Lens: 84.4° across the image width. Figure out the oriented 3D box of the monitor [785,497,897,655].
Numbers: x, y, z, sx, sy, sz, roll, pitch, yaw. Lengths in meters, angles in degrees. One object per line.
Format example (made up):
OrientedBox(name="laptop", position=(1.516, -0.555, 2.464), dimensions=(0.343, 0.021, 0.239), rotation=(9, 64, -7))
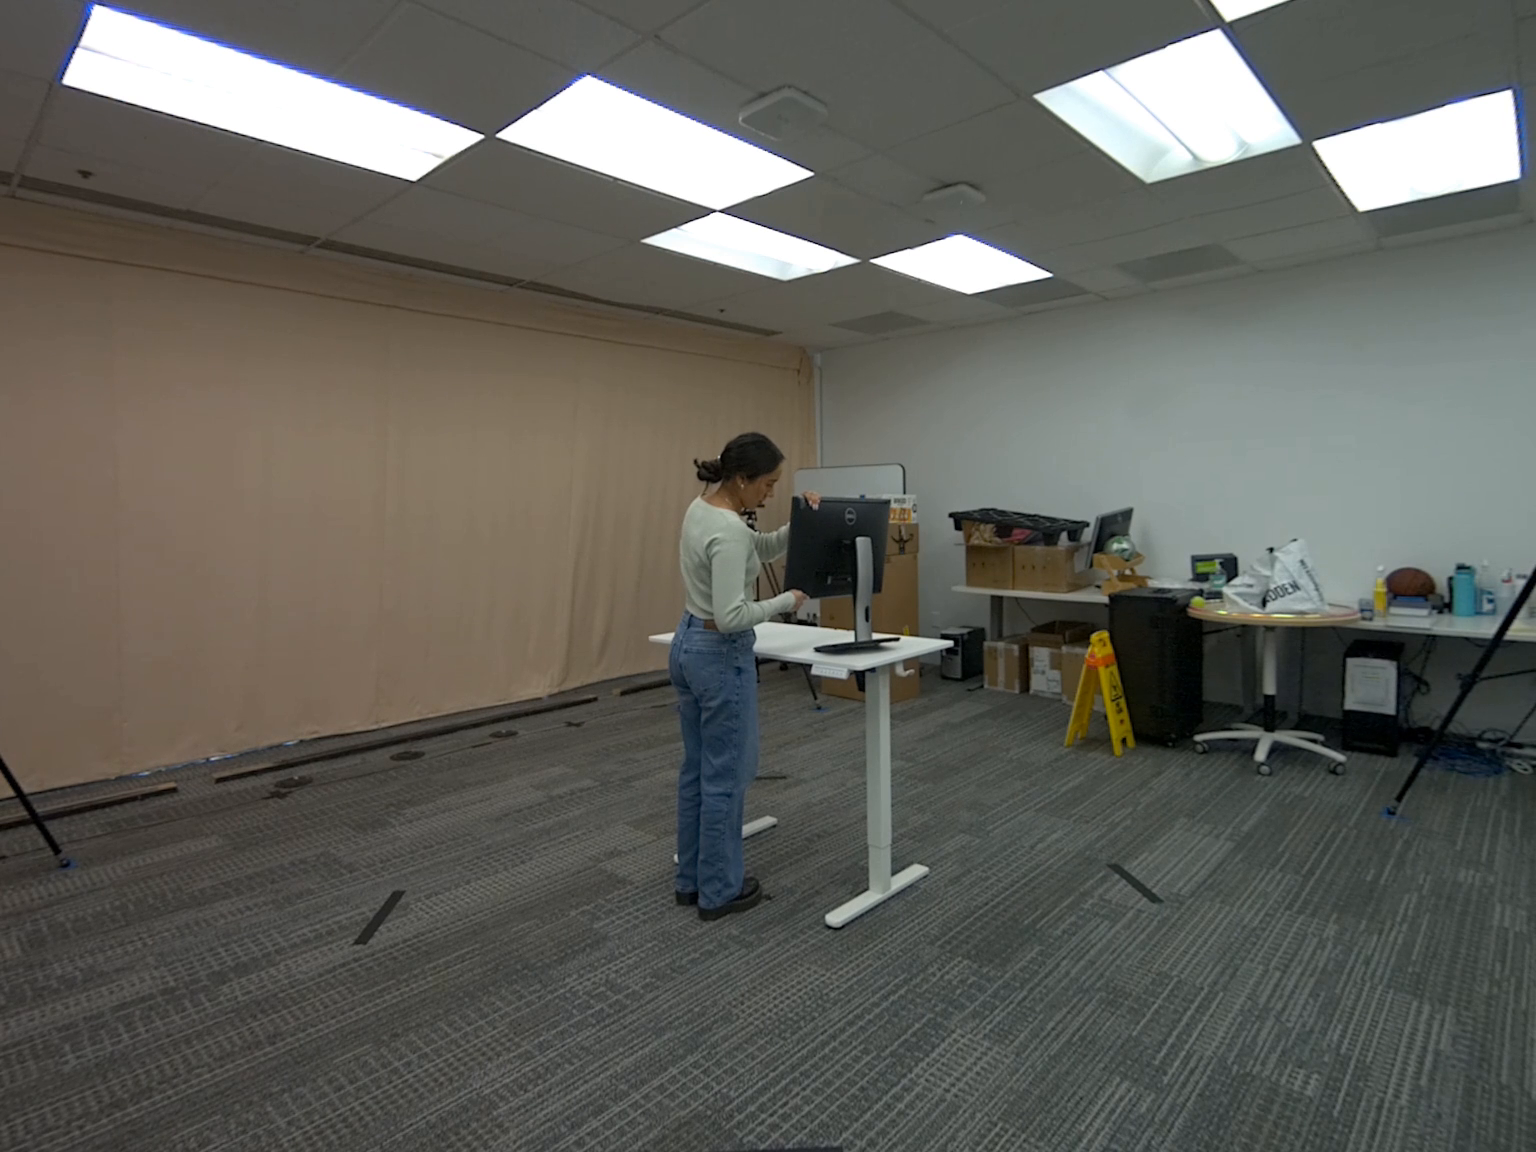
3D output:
OrientedBox(name="monitor", position=(0.291, -0.011, 2.908), dimensions=(0.192, 0.524, 0.522), rotation=(-9, -5, 43))
